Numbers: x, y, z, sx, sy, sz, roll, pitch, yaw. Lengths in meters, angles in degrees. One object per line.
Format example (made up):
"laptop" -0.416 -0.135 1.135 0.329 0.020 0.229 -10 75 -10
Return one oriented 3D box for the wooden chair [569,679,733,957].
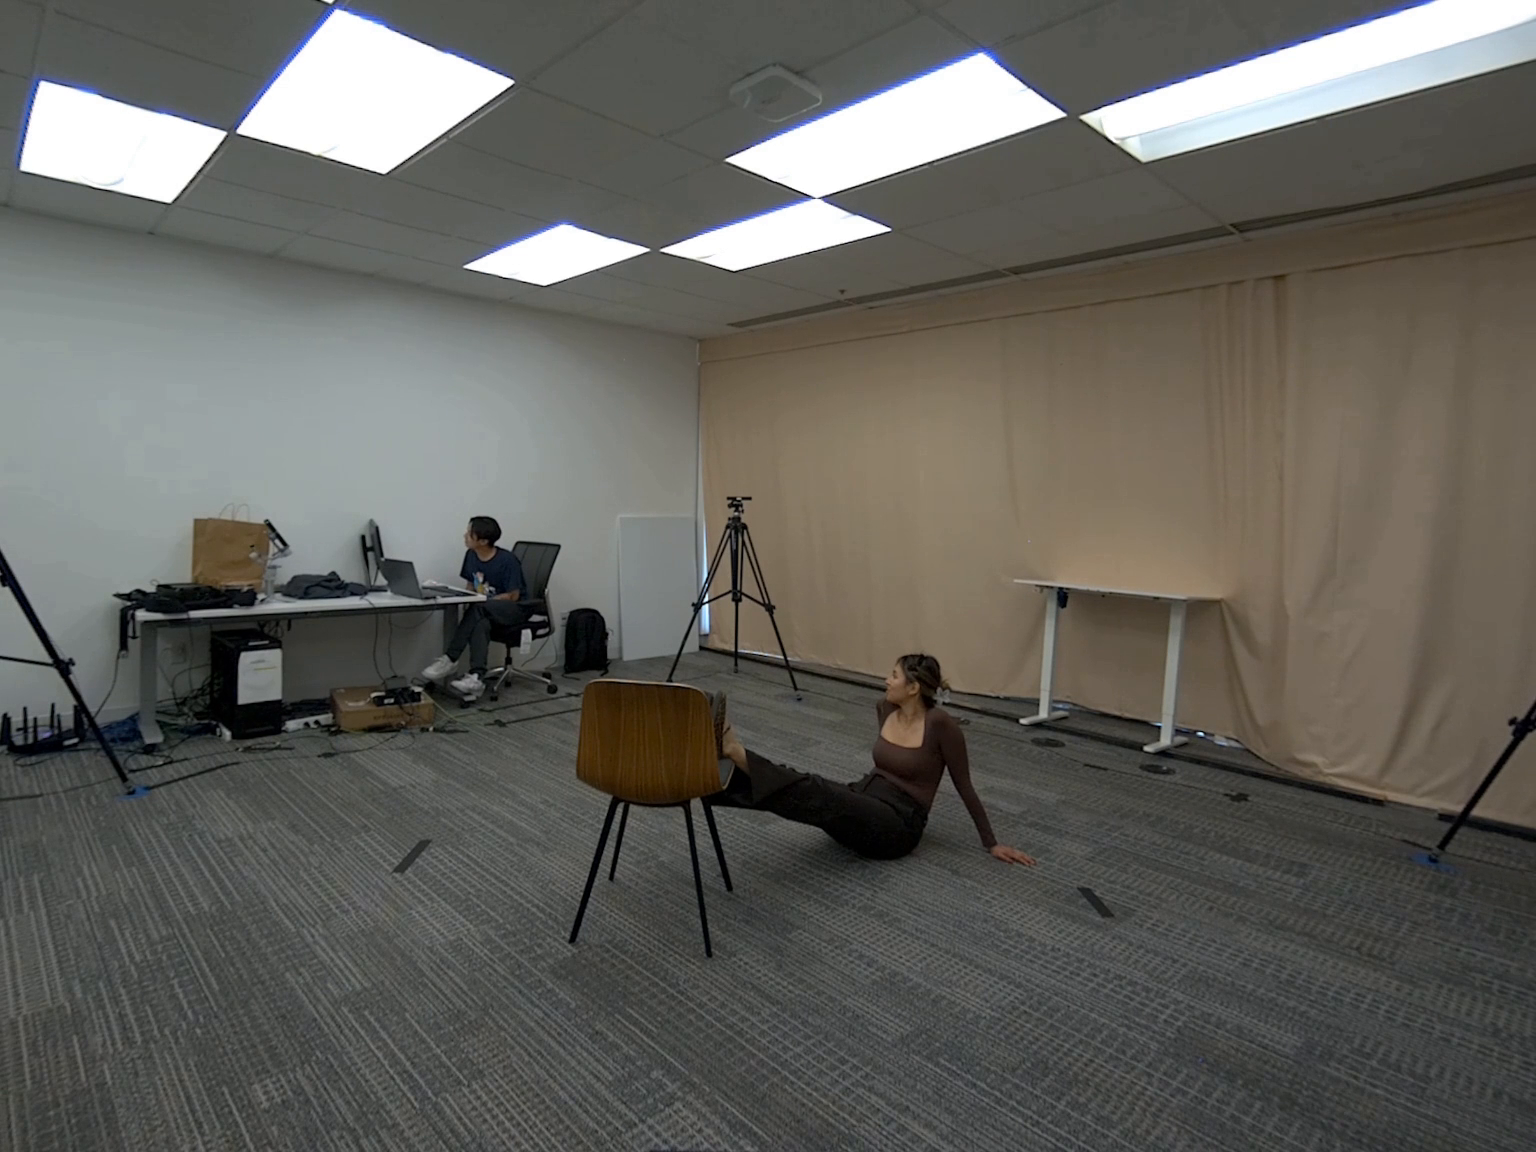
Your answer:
"wooden chair" -0.365 0.705 2.772 0.481 0.873 0.522 2 7 7
